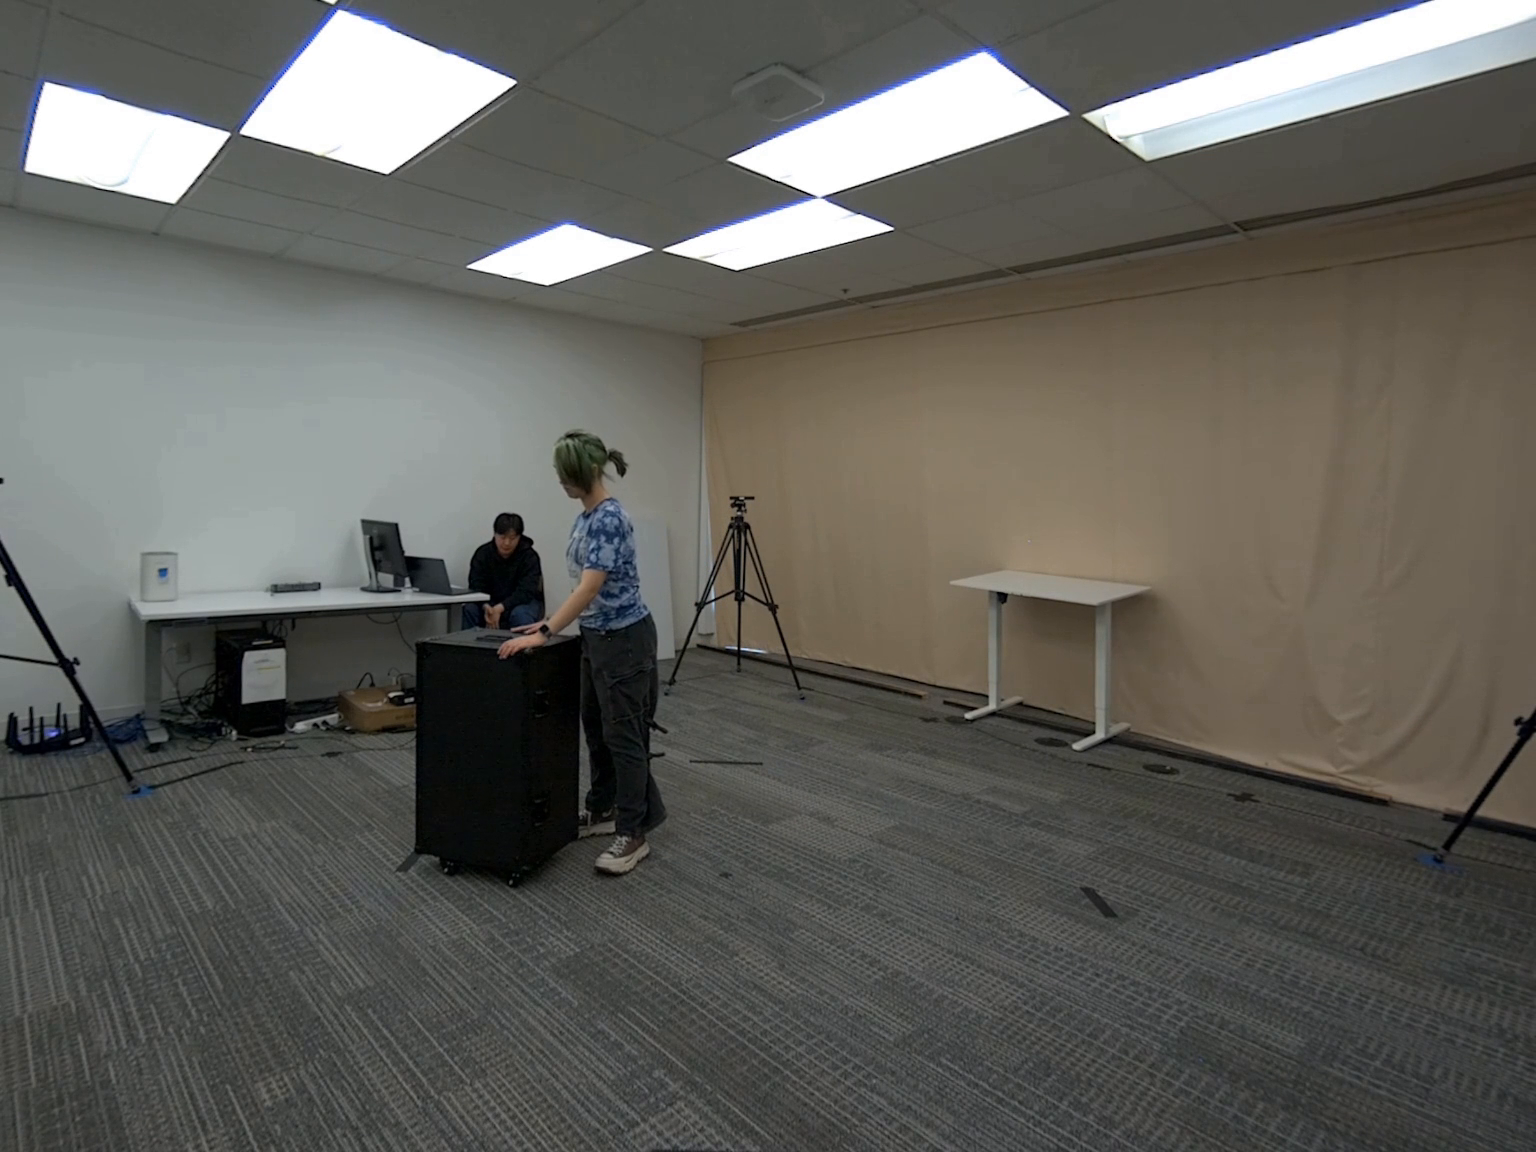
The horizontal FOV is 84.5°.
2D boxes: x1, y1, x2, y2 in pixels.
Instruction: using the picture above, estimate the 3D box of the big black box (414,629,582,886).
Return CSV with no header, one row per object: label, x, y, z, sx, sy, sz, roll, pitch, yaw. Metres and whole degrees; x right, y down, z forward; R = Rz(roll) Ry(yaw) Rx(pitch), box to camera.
big black box,-1.004,0.657,3.157,0.530,0.860,0.390,1,3,23
